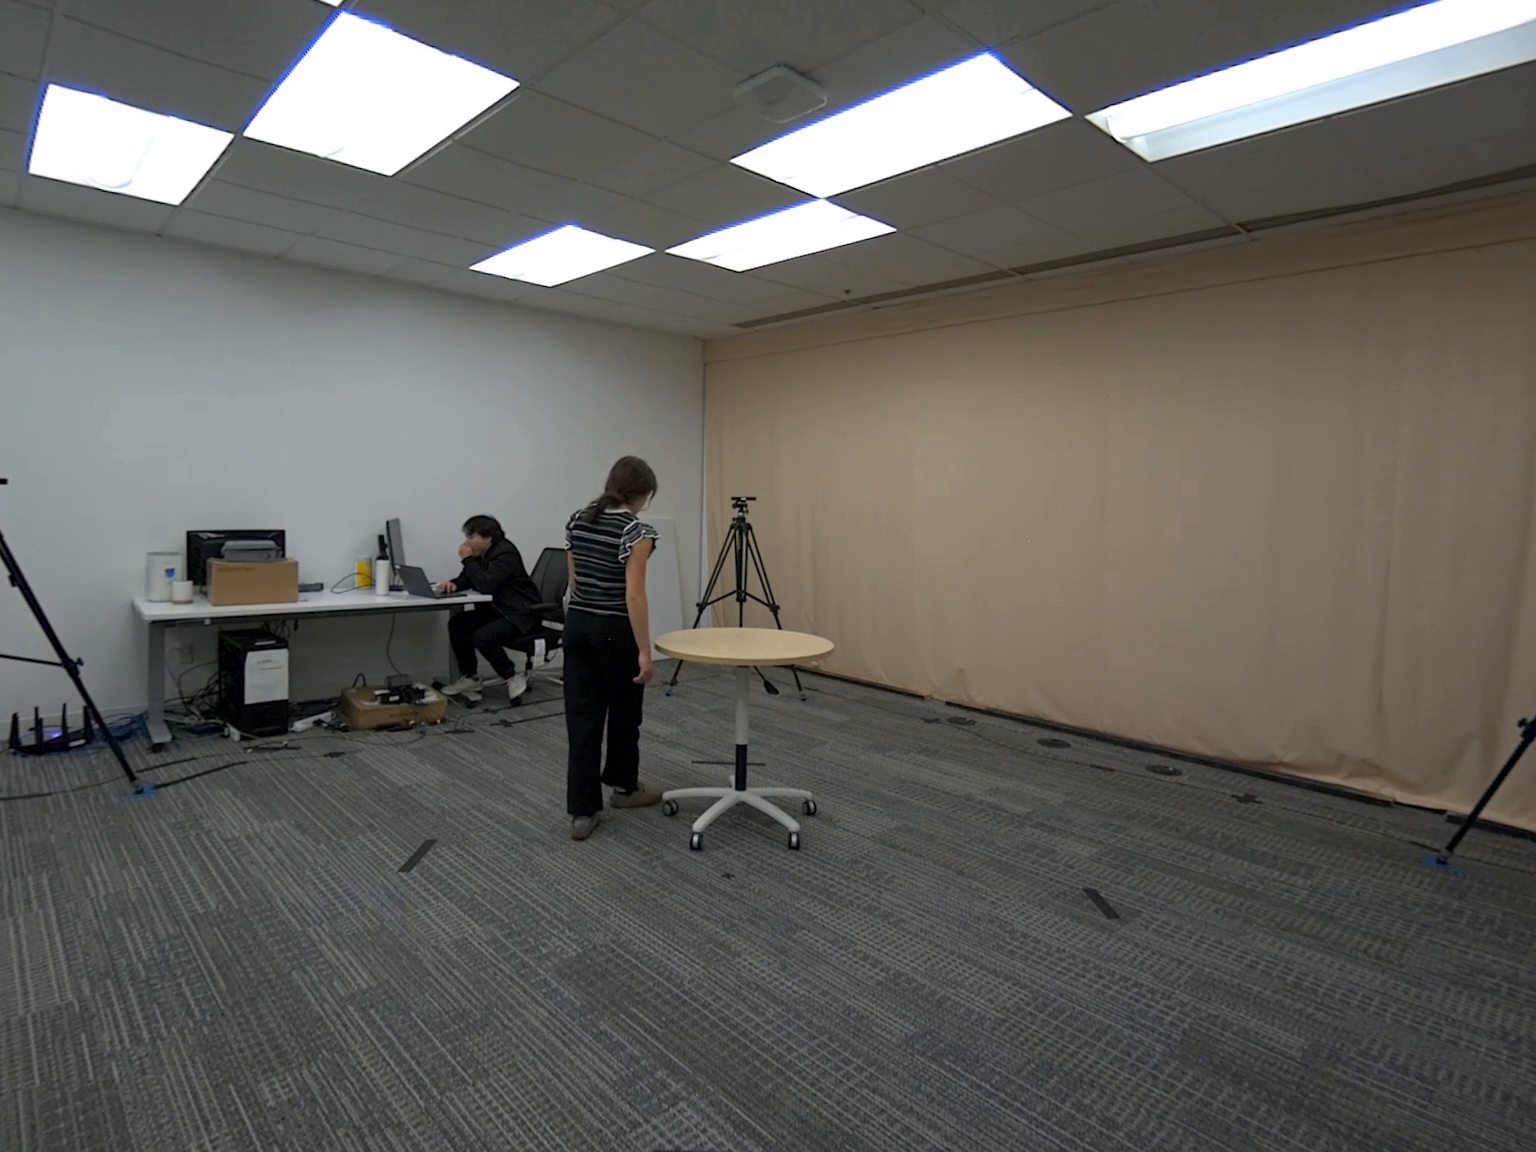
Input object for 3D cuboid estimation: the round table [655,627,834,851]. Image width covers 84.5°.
[{"bbox_3d":[-0.122,0.675,3.616,0.763,0.792,0.766,1,4,-1],"label":"round table"}]
